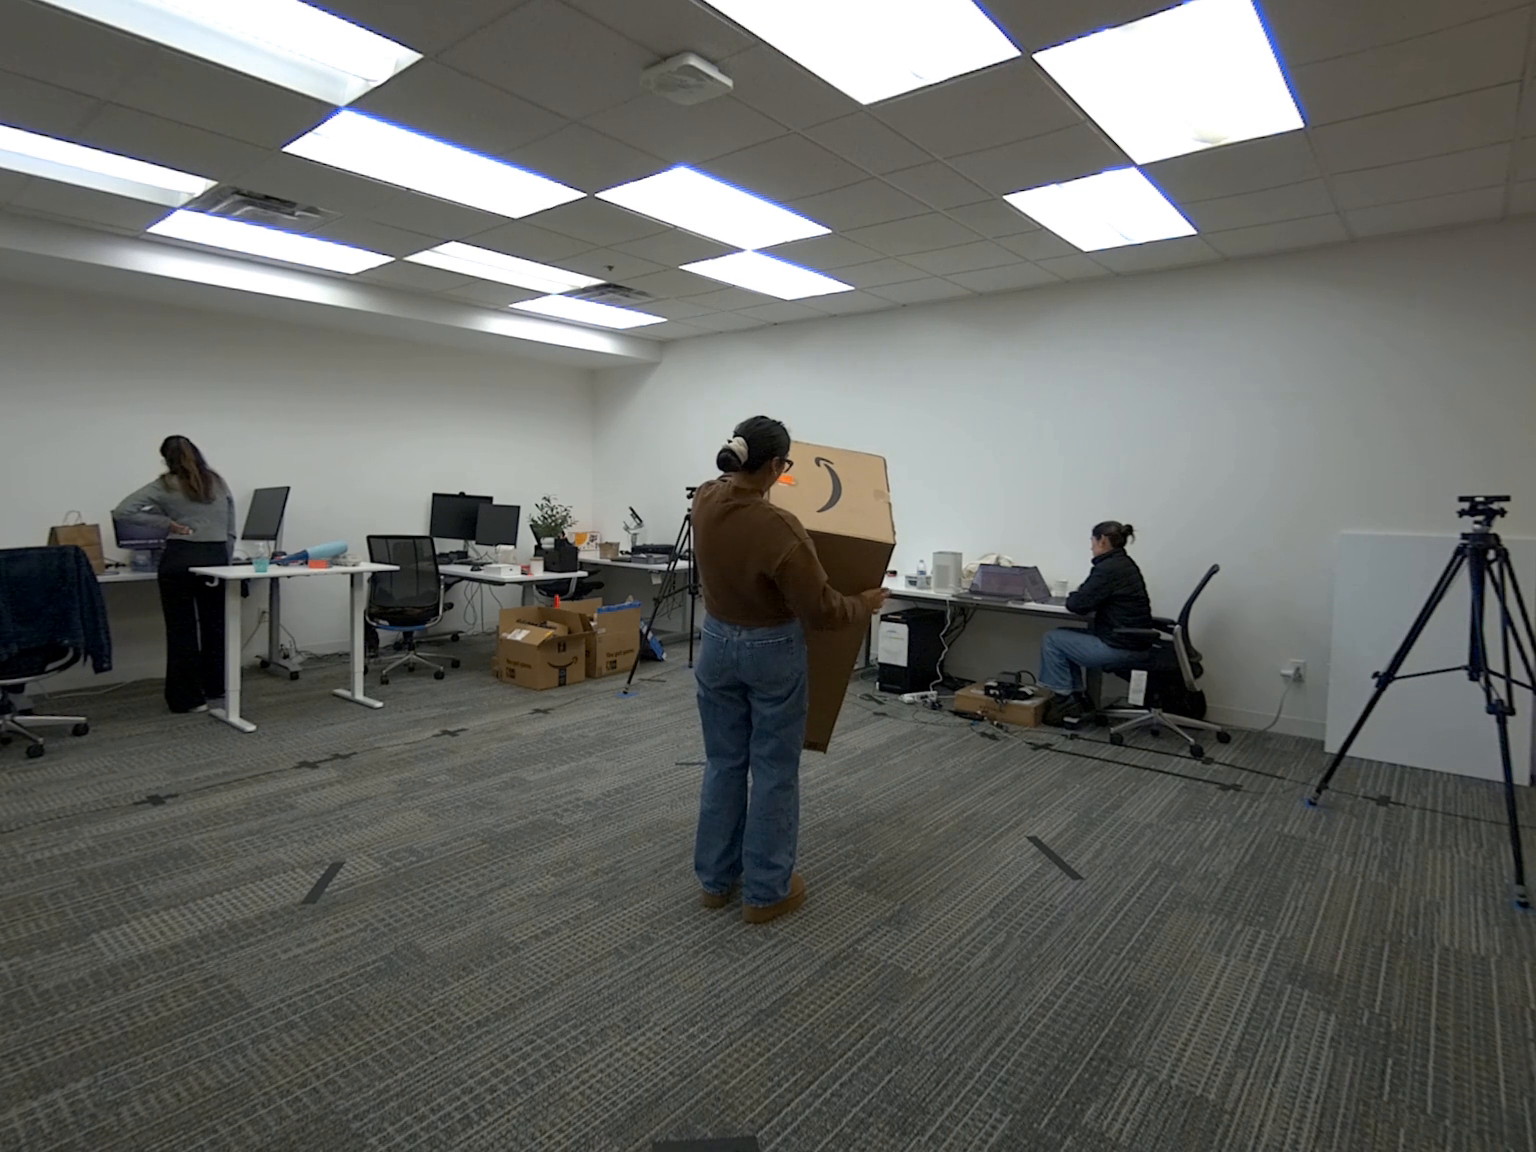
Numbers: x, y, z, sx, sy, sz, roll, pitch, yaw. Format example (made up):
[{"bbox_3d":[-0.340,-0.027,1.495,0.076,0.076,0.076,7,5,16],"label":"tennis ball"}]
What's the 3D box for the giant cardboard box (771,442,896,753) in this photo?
[{"bbox_3d":[0.114,0.088,3.232,0.426,1.004,0.590,11,36,-2],"label":"giant cardboard box"}]
